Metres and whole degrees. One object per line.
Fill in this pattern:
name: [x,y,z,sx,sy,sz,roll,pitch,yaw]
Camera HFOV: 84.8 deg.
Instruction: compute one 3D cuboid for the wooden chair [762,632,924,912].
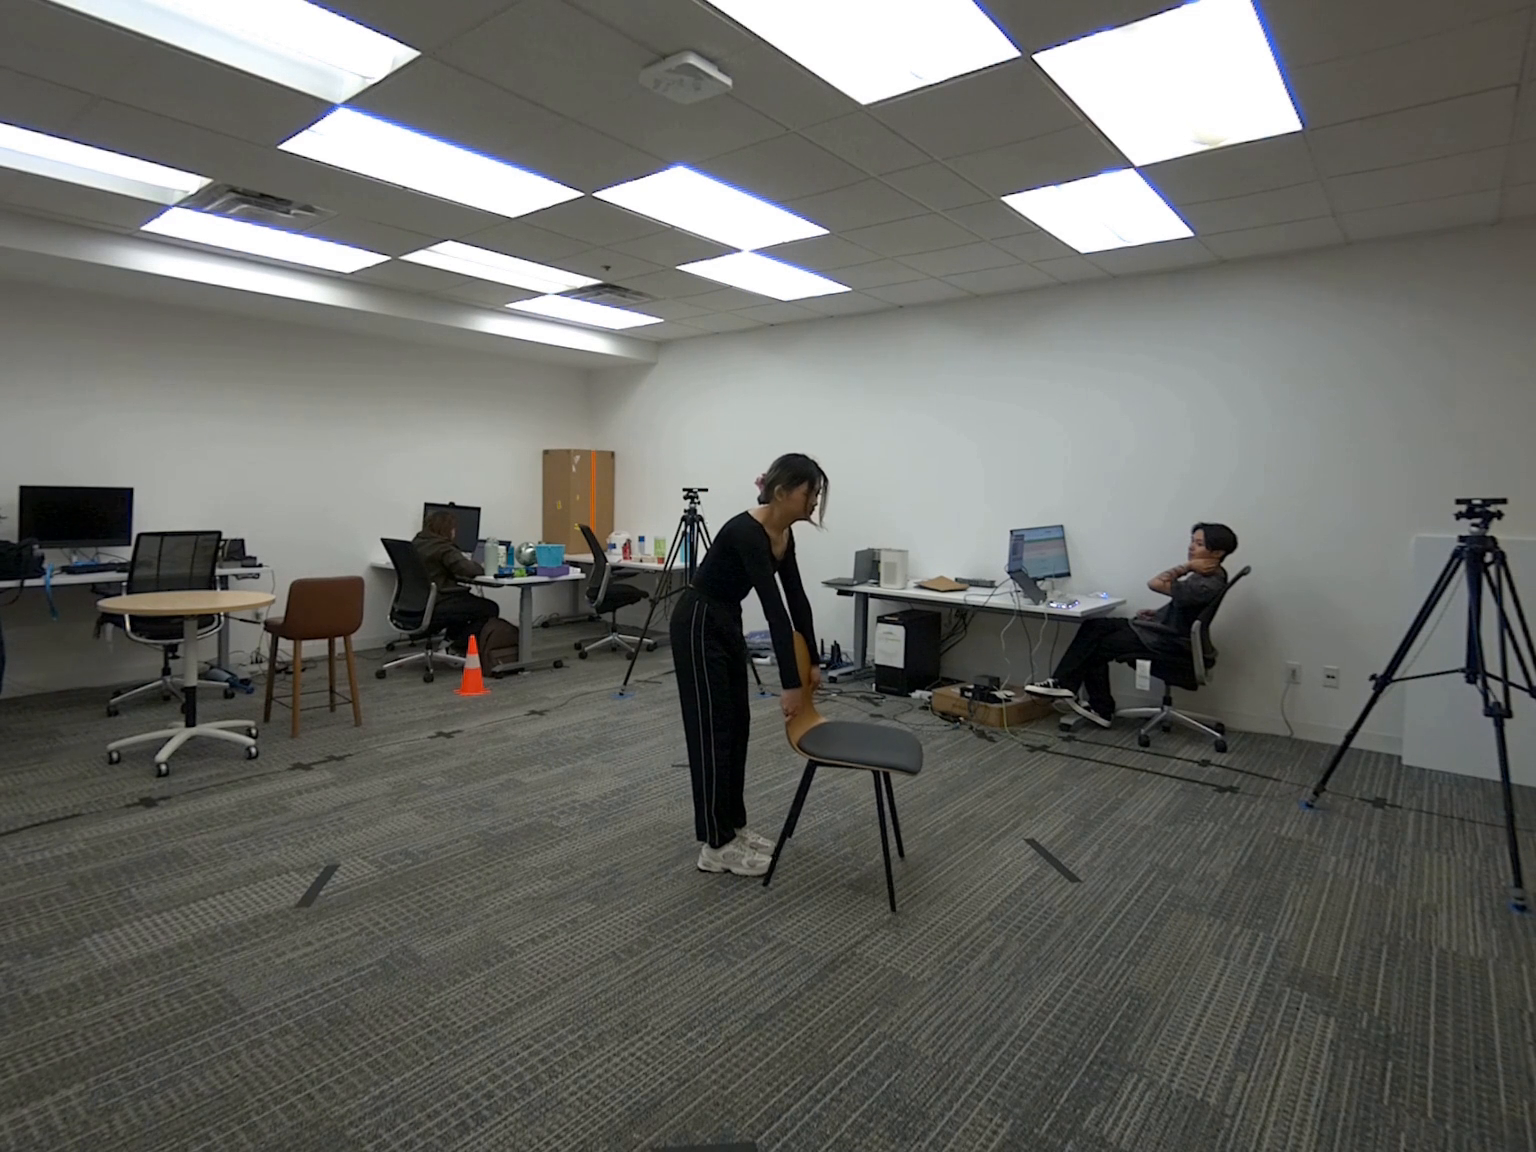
wooden chair: [0.278,0.644,3.053,0.532,0.876,0.471,0,2,15]
